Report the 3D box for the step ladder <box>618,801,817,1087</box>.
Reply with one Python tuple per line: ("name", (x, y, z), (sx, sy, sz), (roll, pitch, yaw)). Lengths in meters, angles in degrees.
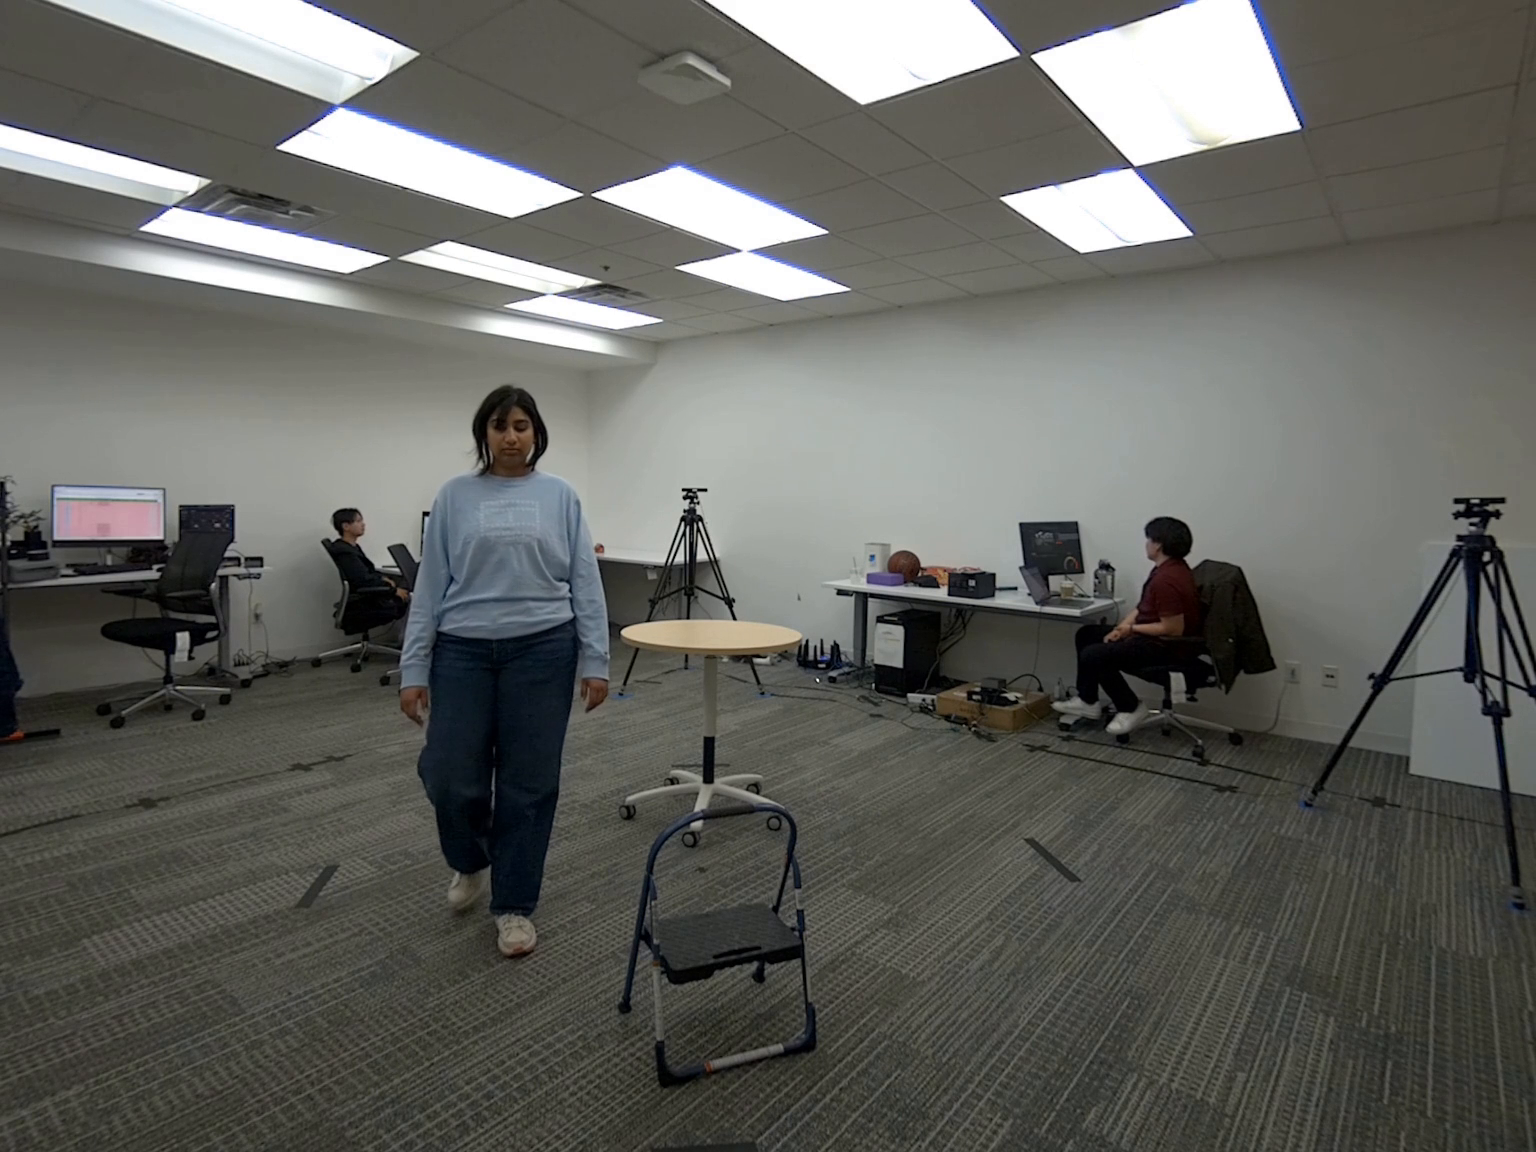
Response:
("step ladder", (-0.136, 0.862, 2.189), (0.421, 0.604, 0.359), (-1, 4, -25))
